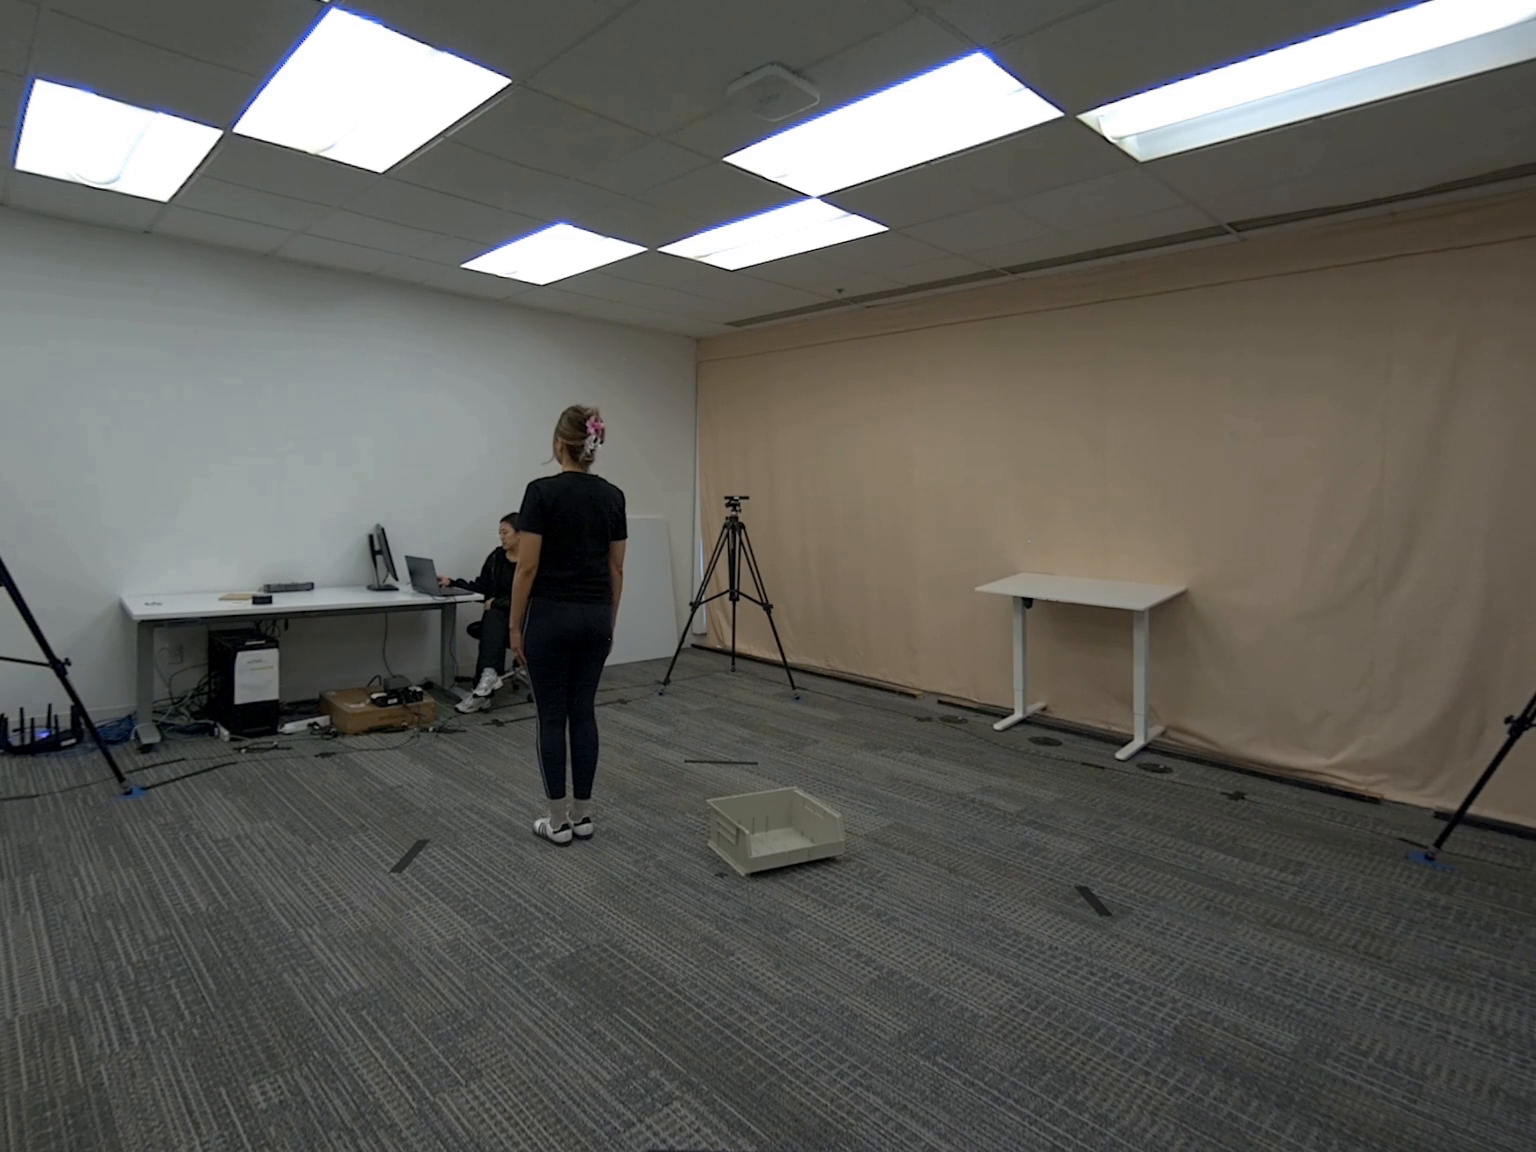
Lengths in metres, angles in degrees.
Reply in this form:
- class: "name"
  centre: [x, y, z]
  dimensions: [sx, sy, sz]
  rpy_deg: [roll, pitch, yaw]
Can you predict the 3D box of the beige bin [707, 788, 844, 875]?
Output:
- class: "beige bin"
  centre: [0.017, 1.001, 3.304]
  dimensions: [0.414, 0.188, 0.385]
  rpy_deg: [-2, 5, -28]
